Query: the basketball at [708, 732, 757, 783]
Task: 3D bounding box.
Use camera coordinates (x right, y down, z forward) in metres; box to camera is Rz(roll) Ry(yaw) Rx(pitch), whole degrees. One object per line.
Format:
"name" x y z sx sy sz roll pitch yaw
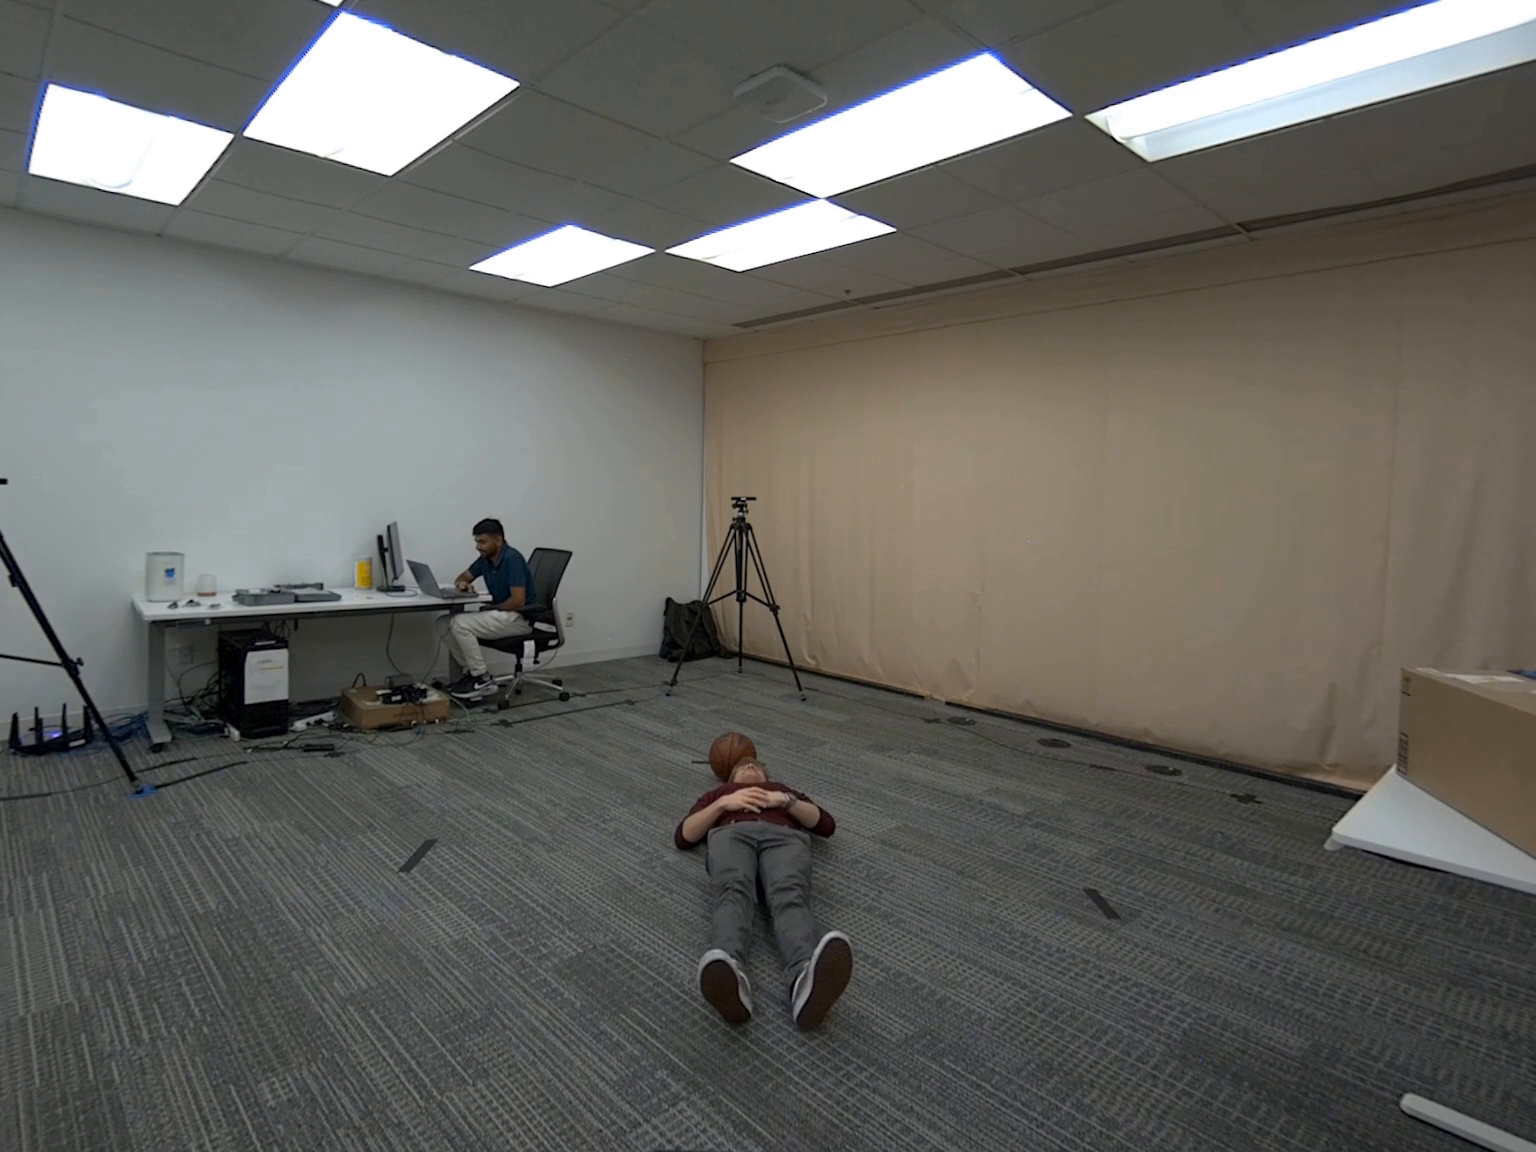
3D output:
"basketball" -0.190 0.892 4.169 0.236 0.235 0.237 1 4 -1
